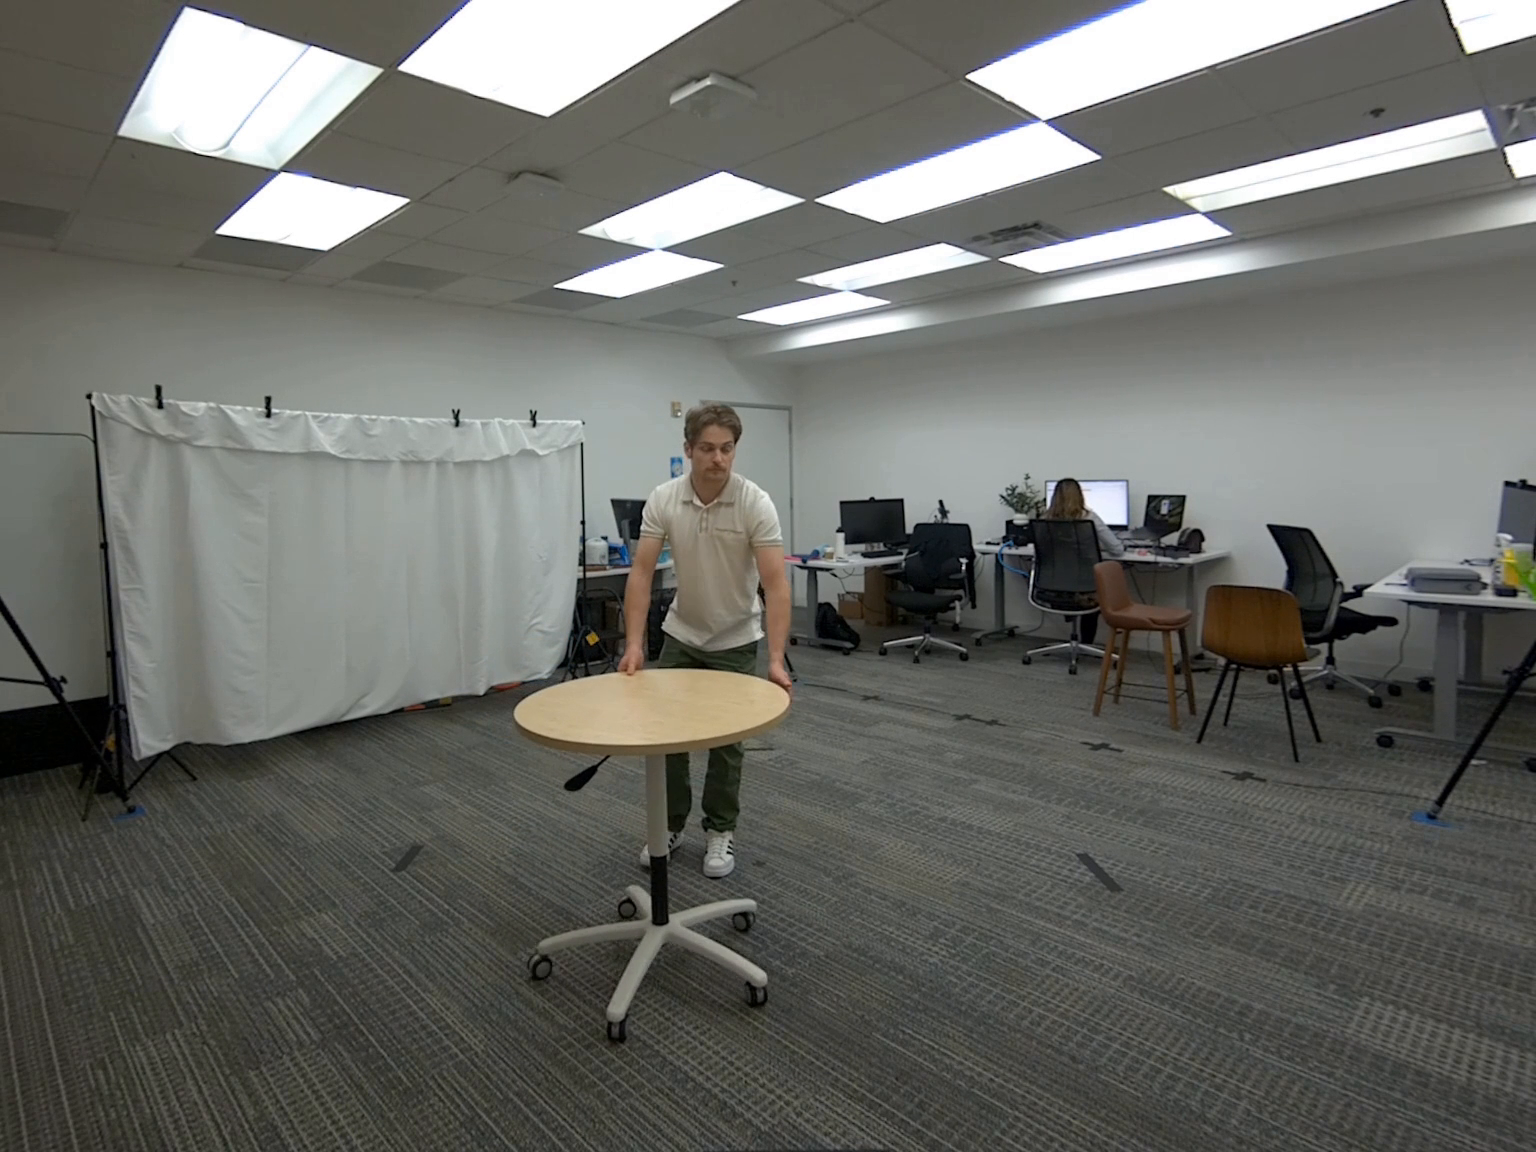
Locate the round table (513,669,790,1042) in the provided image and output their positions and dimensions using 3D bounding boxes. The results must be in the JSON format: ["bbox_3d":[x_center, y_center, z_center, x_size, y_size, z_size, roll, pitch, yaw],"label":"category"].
[{"bbox_3d":[-0.310,0.746,2.421,0.763,0.790,0.768,-2,5,-1],"label":"round table"}]
